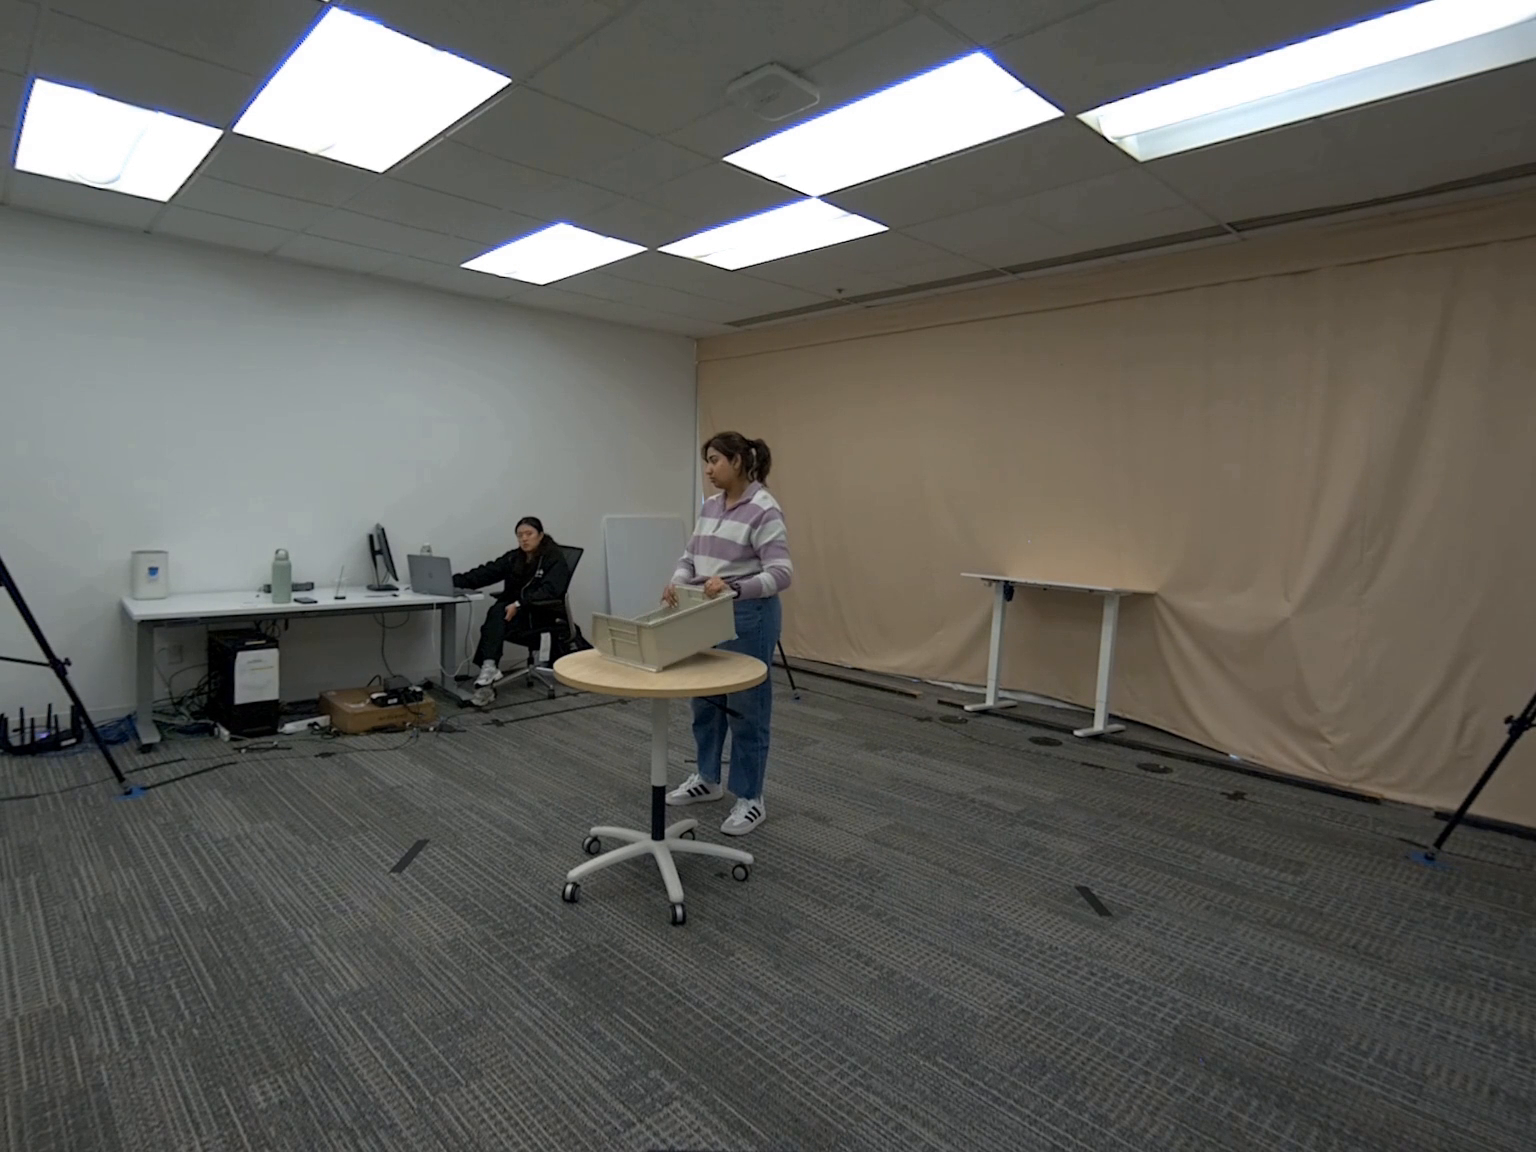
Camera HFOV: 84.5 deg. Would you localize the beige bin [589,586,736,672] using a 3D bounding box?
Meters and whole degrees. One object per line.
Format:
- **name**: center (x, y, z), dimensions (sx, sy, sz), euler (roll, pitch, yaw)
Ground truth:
- **beige bin**: center (-0.391, 0.180, 3.137), dimensions (0.387, 0.187, 0.416), euler (8, 19, 43)
